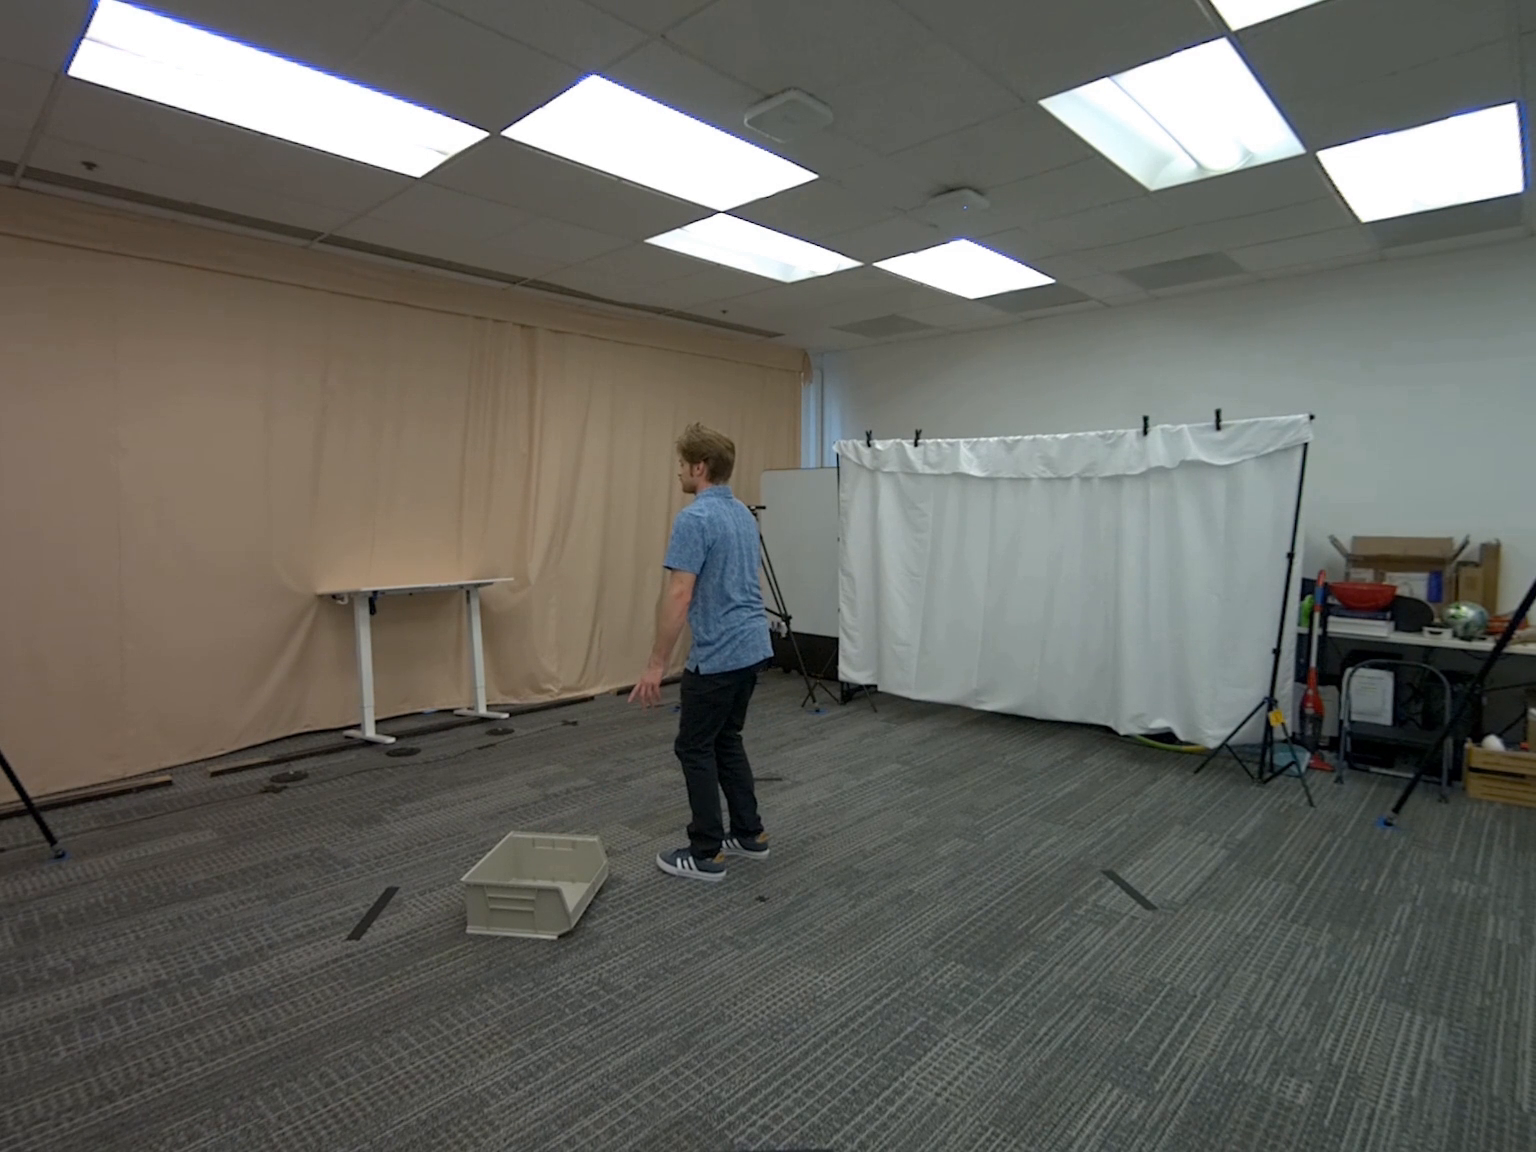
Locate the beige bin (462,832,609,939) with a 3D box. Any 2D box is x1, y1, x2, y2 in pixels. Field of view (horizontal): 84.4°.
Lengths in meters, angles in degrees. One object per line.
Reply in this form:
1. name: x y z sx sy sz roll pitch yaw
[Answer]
1. beige bin: -0.799 1.067 2.928 0.381 0.188 0.420 0 5 7
